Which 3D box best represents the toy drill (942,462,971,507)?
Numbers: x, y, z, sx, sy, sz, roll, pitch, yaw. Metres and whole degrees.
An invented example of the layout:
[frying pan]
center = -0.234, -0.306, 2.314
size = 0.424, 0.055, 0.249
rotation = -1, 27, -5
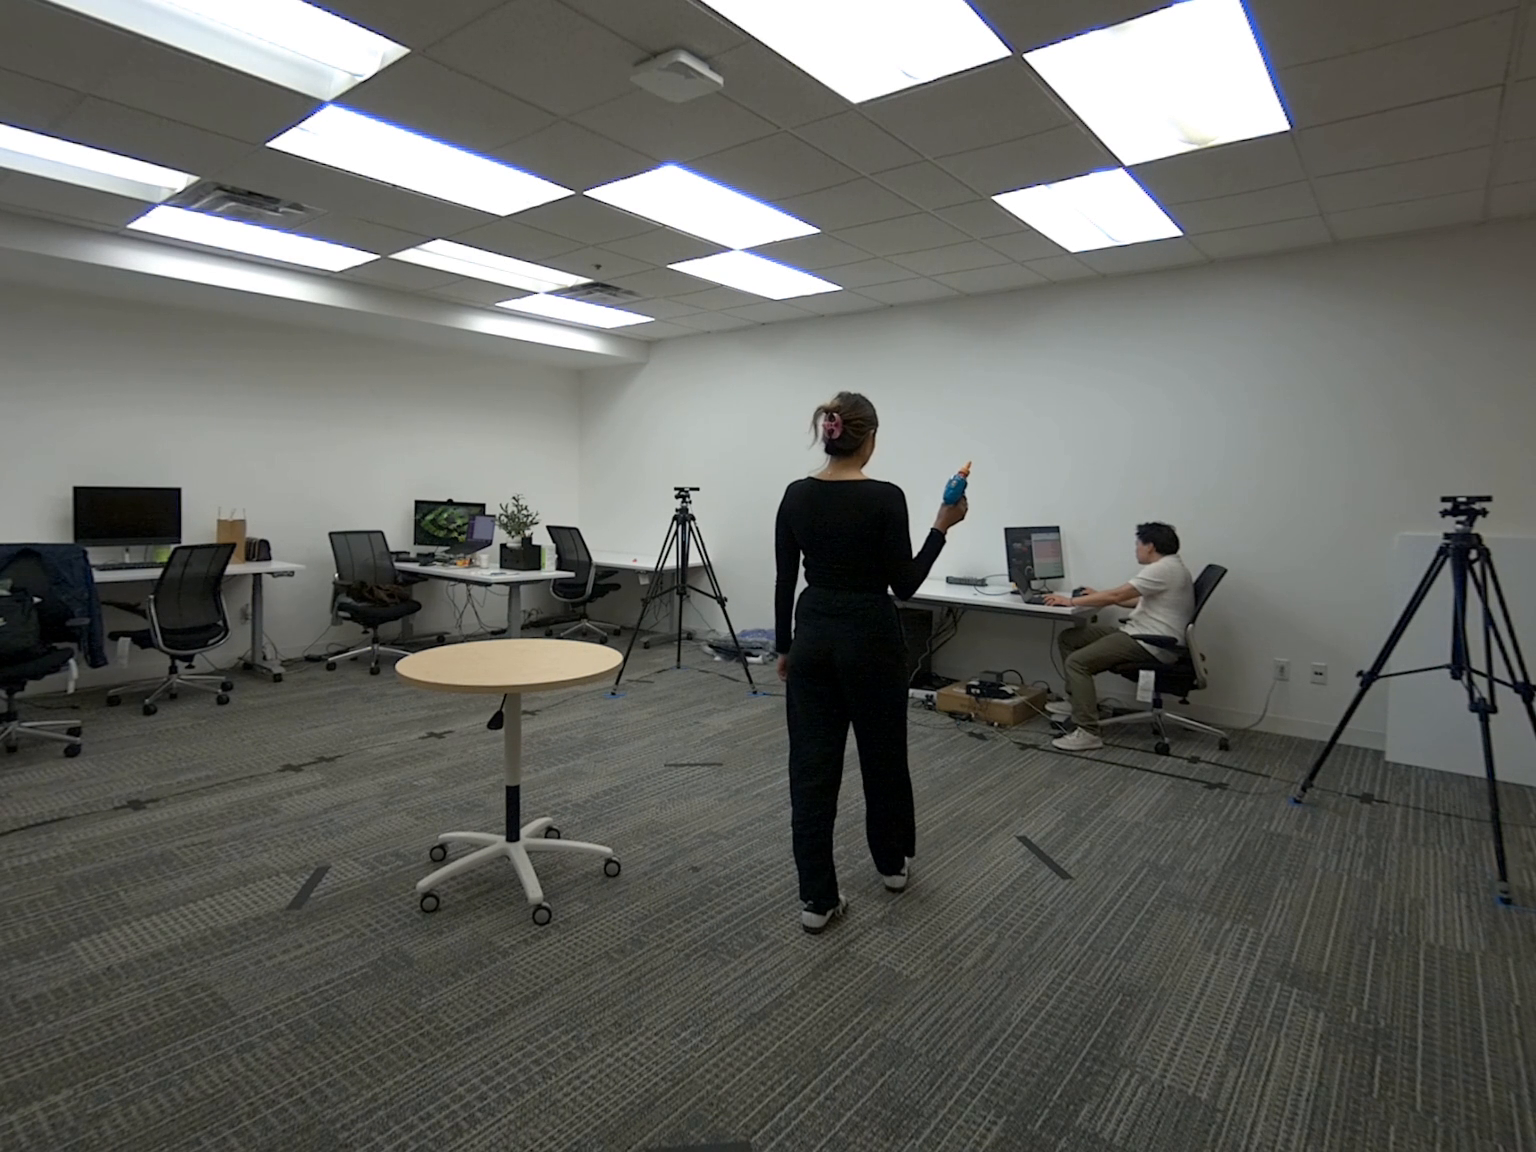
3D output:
[toy drill]
center = 0.619, -0.284, 2.747
size = 0.063, 0.170, 0.140
rotation = 20, -18, 29
